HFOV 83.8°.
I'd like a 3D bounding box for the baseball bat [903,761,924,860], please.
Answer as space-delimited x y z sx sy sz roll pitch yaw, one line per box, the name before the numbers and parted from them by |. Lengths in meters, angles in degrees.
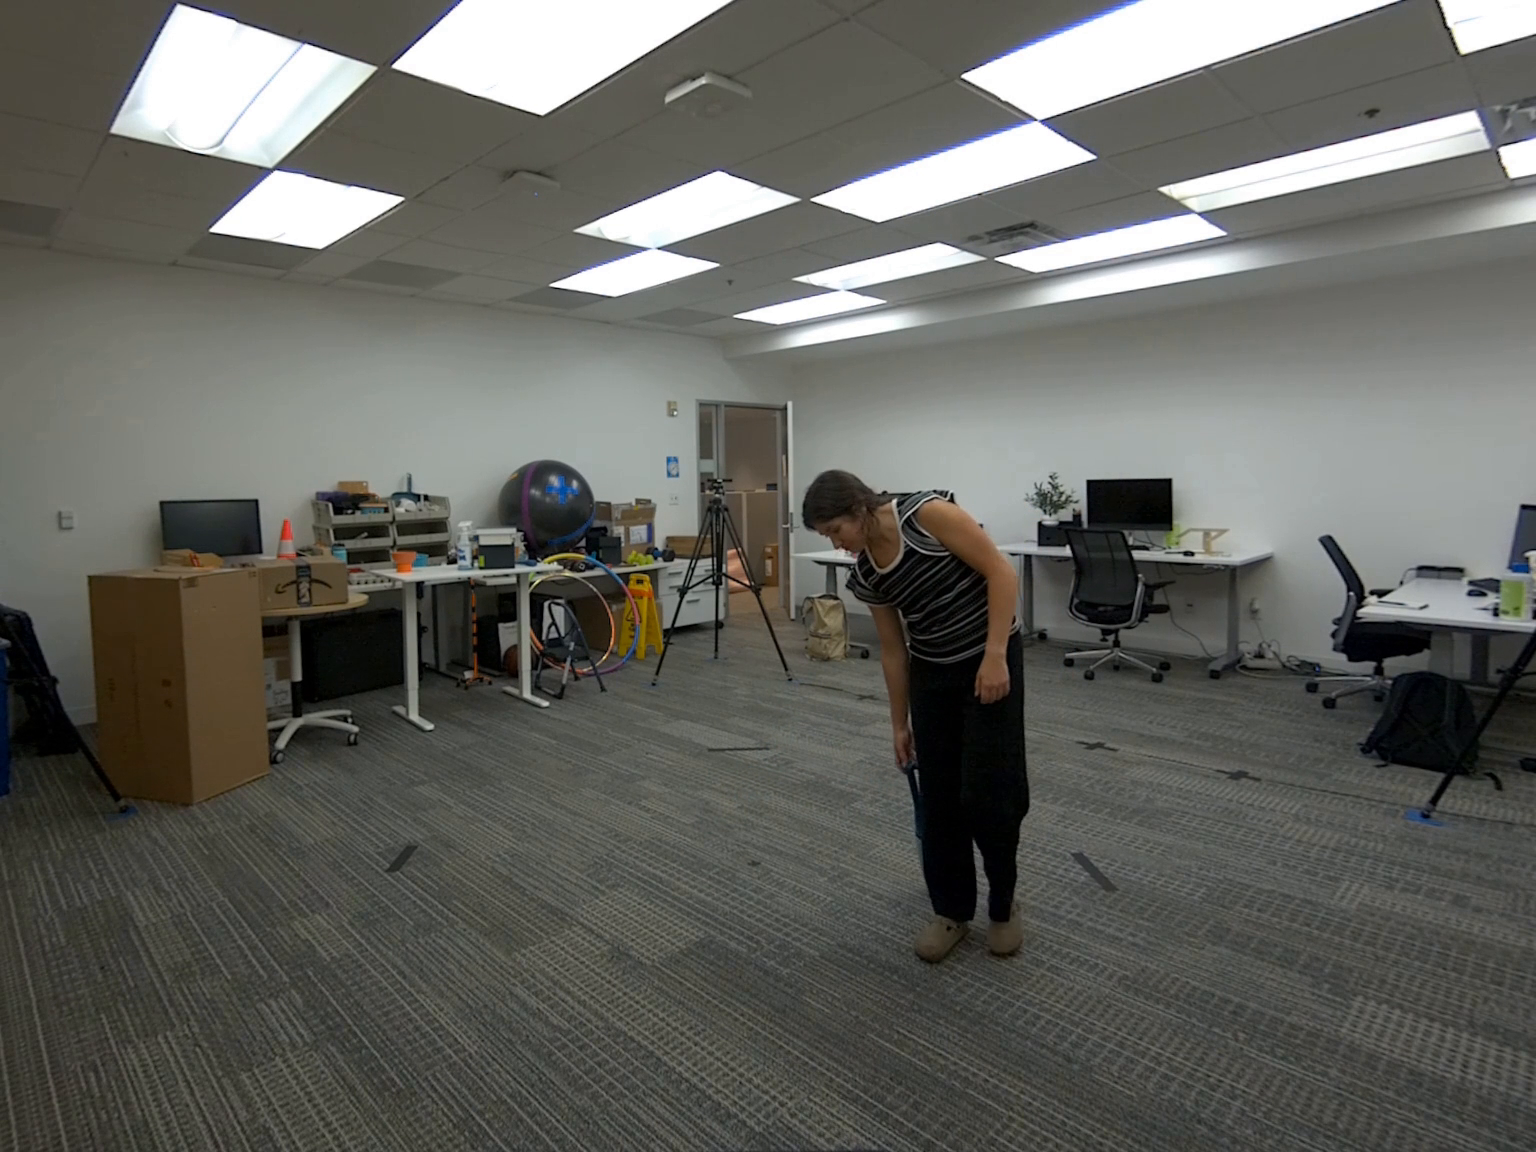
baseball bat | 0.519 0.822 2.769 0.089 0.529 0.091 -14 24 5
